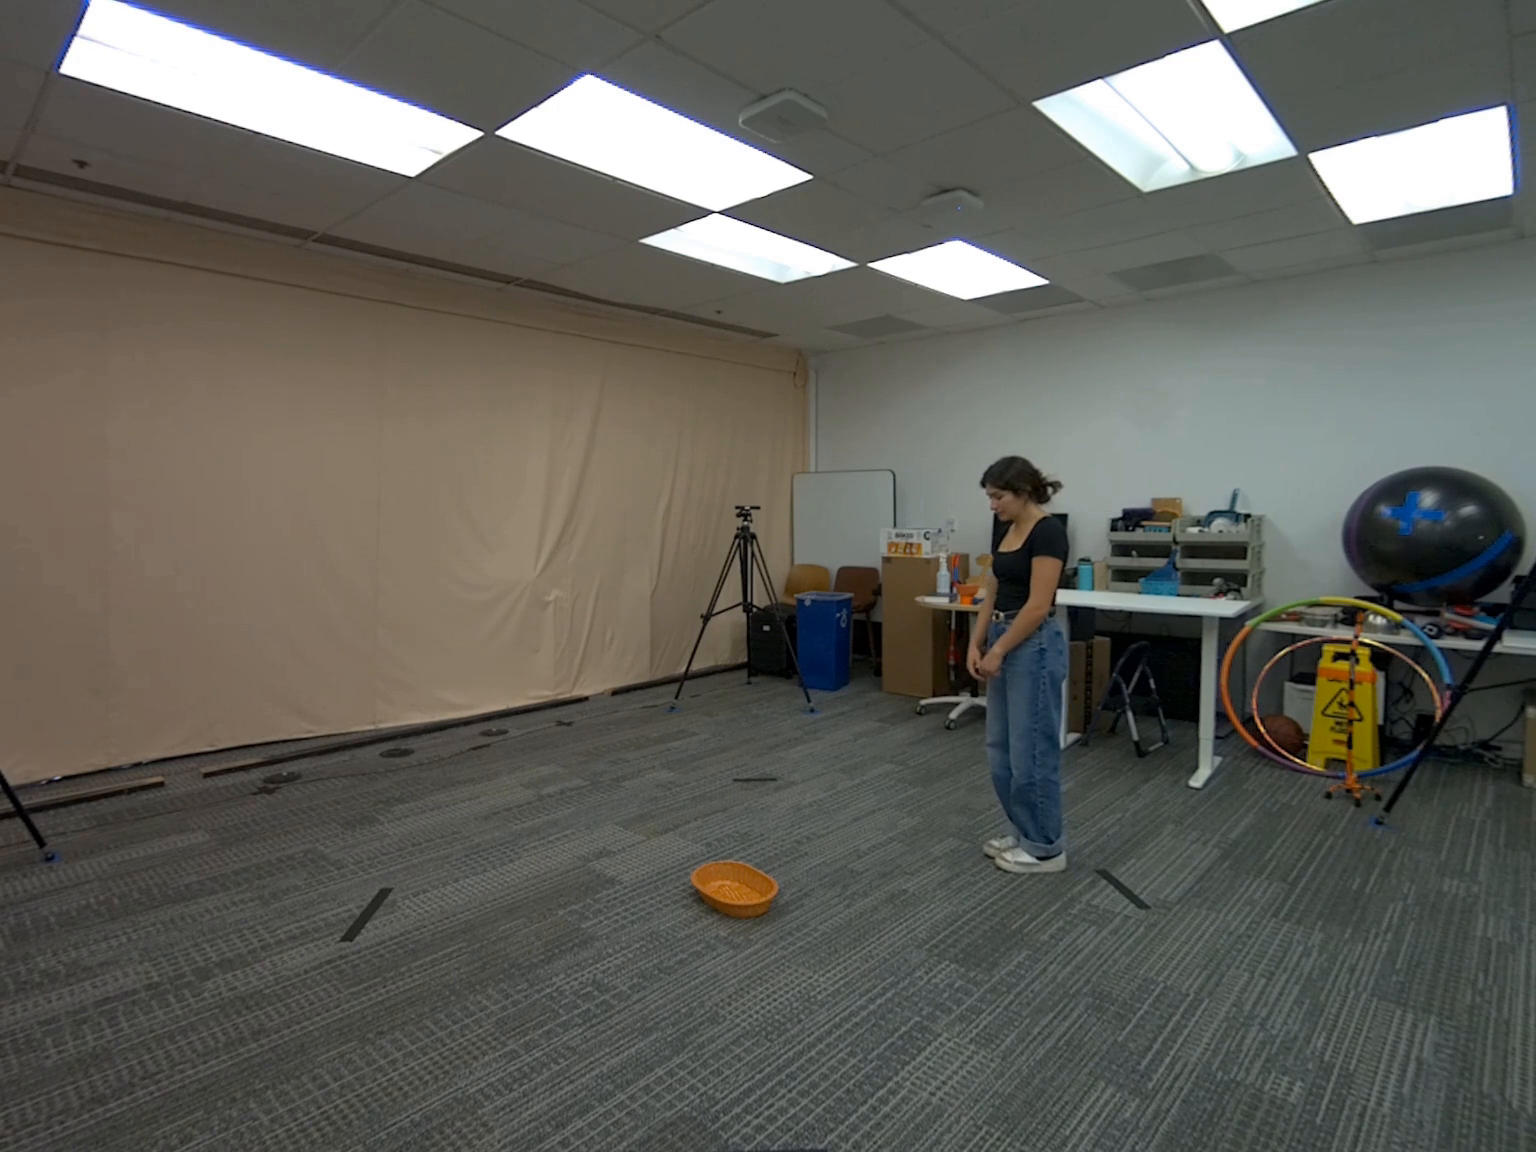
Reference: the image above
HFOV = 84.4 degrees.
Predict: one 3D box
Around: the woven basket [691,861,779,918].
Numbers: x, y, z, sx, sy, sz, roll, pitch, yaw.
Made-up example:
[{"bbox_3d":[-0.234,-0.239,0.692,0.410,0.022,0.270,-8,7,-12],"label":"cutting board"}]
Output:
[{"bbox_3d":[-0.120,1.107,2.971,0.245,0.073,0.362,-6,7,-35],"label":"woven basket"}]
